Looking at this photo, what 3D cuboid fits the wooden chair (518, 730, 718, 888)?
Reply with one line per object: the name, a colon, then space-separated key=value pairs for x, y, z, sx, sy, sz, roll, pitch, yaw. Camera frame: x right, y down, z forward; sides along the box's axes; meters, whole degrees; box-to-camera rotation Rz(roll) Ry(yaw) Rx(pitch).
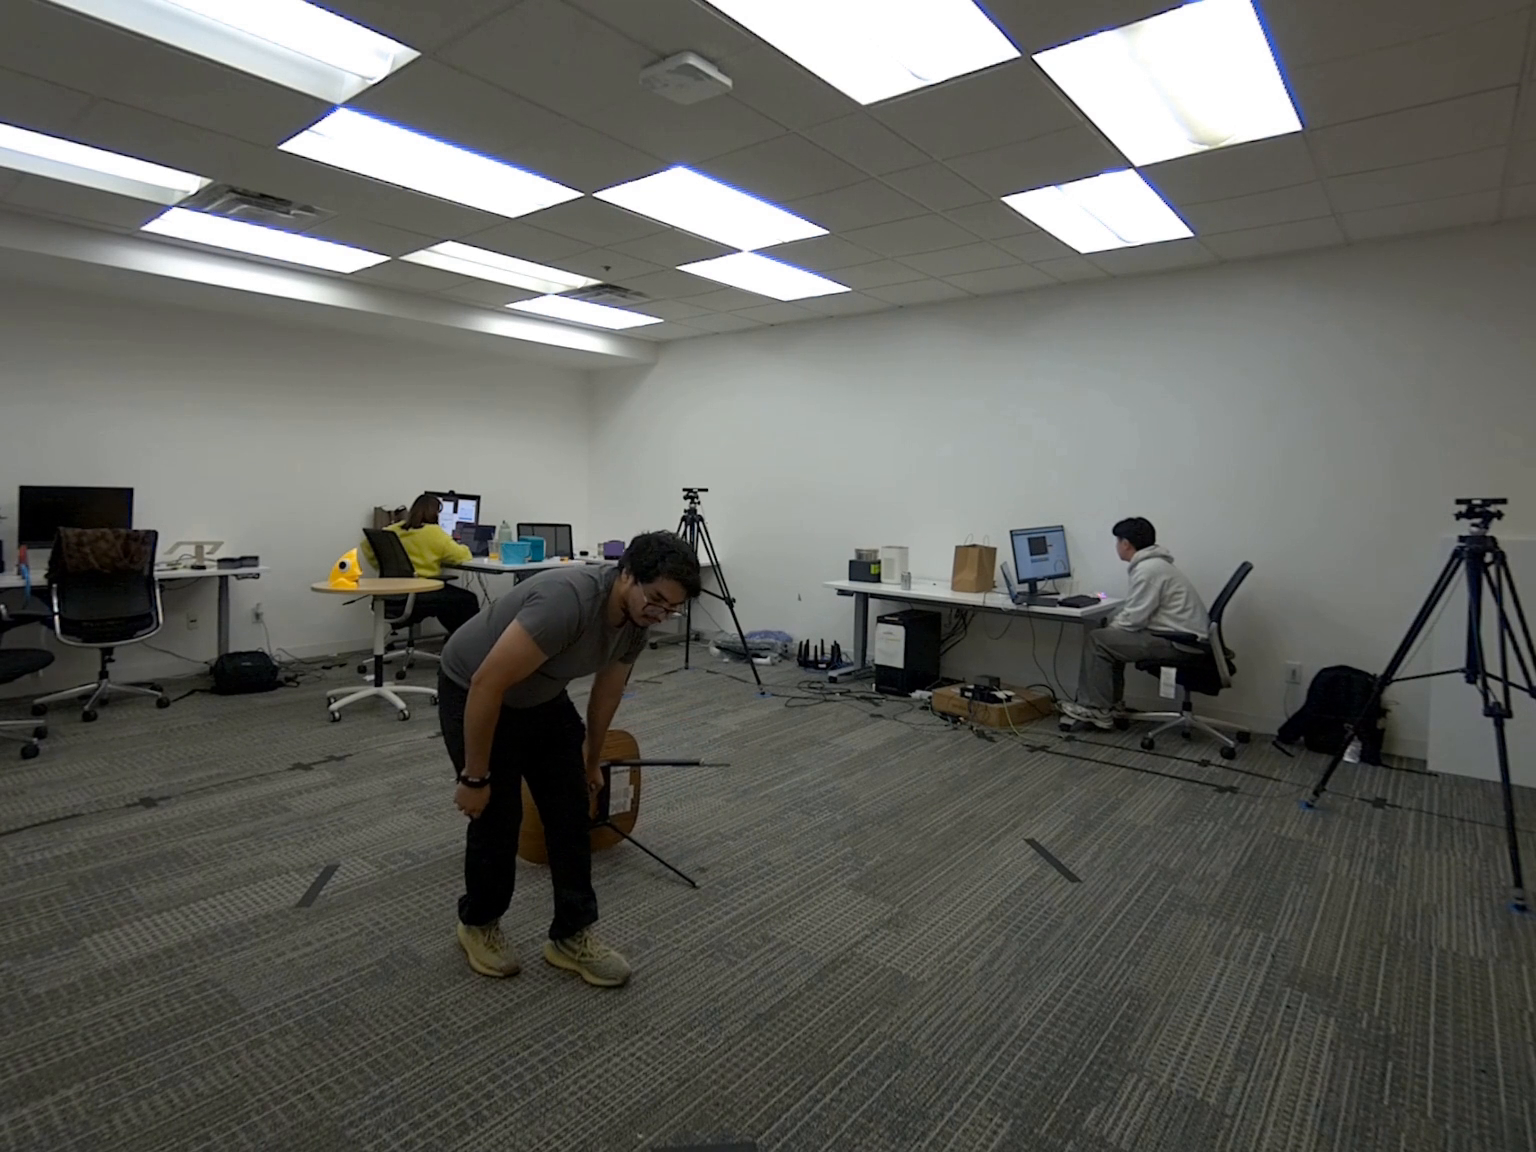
wooden chair: x=-0.687 y=0.826 z=3.141 sx=0.908 sy=0.477 sz=0.507 roll=6 pitch=6 yaw=44
